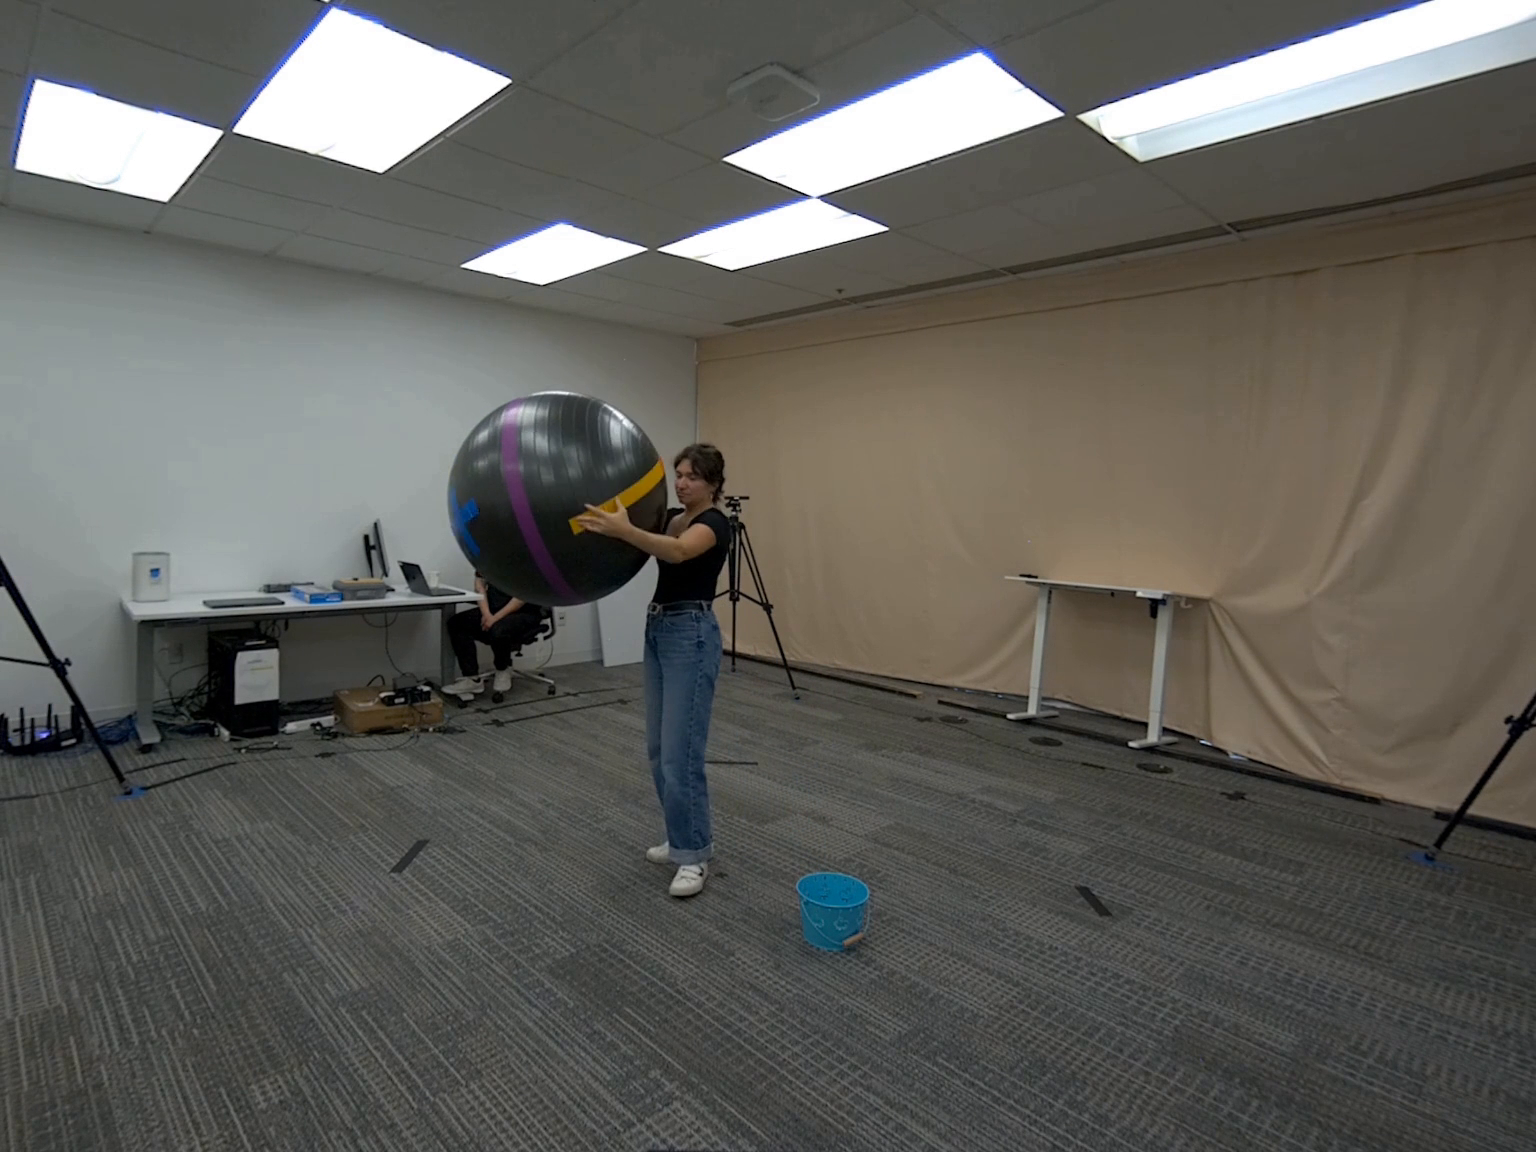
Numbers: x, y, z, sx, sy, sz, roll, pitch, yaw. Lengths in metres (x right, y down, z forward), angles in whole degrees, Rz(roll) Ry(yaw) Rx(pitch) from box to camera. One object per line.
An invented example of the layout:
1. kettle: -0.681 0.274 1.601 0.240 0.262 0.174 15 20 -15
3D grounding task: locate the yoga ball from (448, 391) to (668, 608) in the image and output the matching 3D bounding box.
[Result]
1. yoga ball: -0.741 -0.262 2.973 0.757 0.756 0.761 1 4 -1
